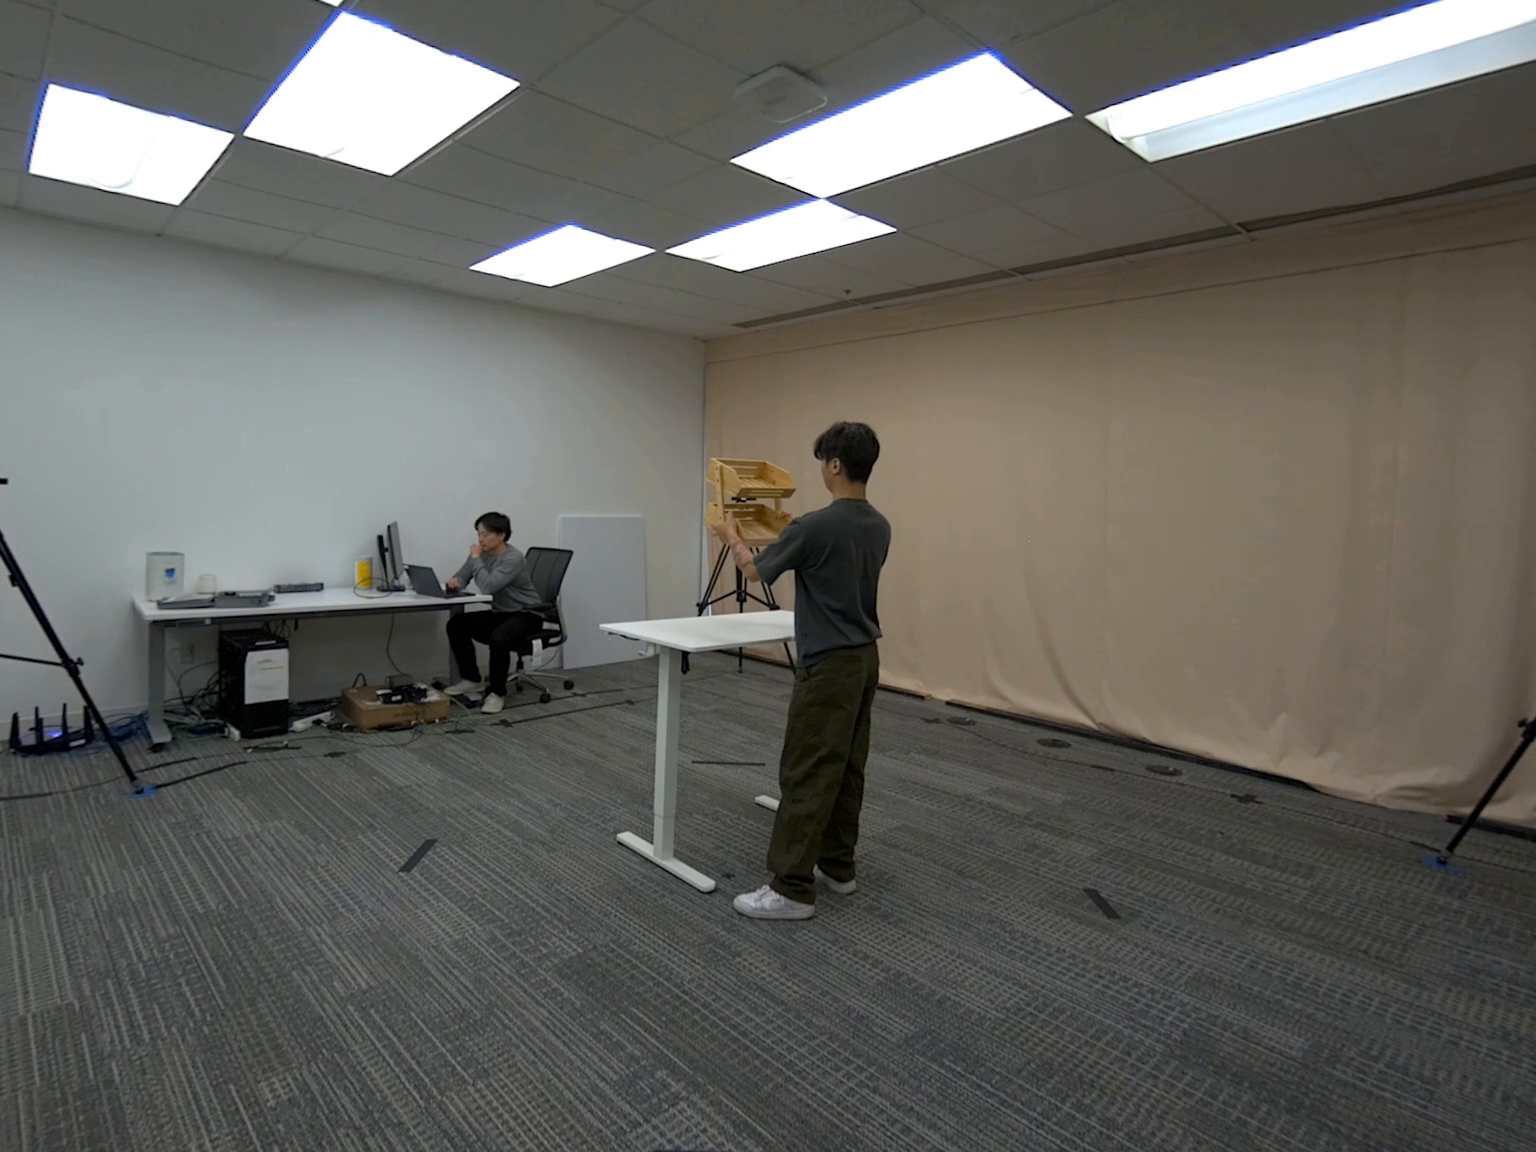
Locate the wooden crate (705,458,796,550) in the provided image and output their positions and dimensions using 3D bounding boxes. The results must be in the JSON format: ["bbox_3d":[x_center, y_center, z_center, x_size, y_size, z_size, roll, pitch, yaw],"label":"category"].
[{"bbox_3d":[-0.056,-0.293,3.325,0.317,0.271,0.312,-3,26,-43],"label":"wooden crate"}]
